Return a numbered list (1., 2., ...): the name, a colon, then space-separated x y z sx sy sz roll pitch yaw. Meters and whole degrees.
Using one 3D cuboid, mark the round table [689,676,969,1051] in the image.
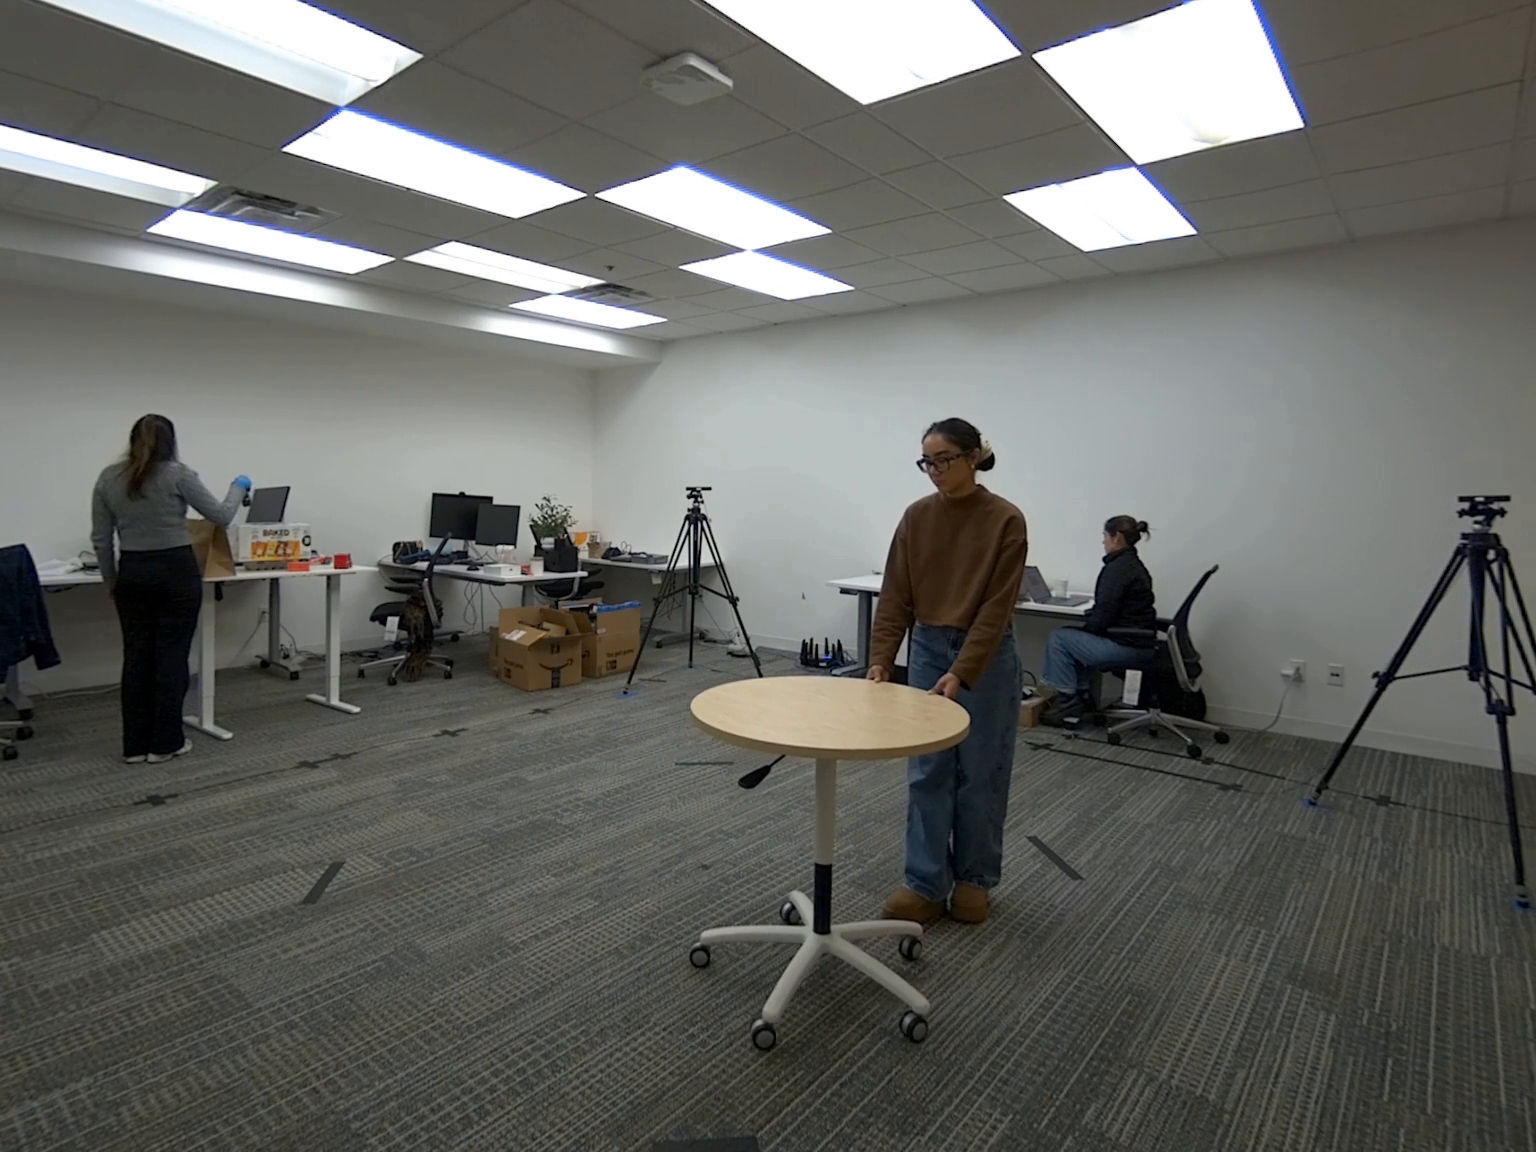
1. round table: 0.148 0.754 2.401 0.763 0.791 0.768 1 5 -2
